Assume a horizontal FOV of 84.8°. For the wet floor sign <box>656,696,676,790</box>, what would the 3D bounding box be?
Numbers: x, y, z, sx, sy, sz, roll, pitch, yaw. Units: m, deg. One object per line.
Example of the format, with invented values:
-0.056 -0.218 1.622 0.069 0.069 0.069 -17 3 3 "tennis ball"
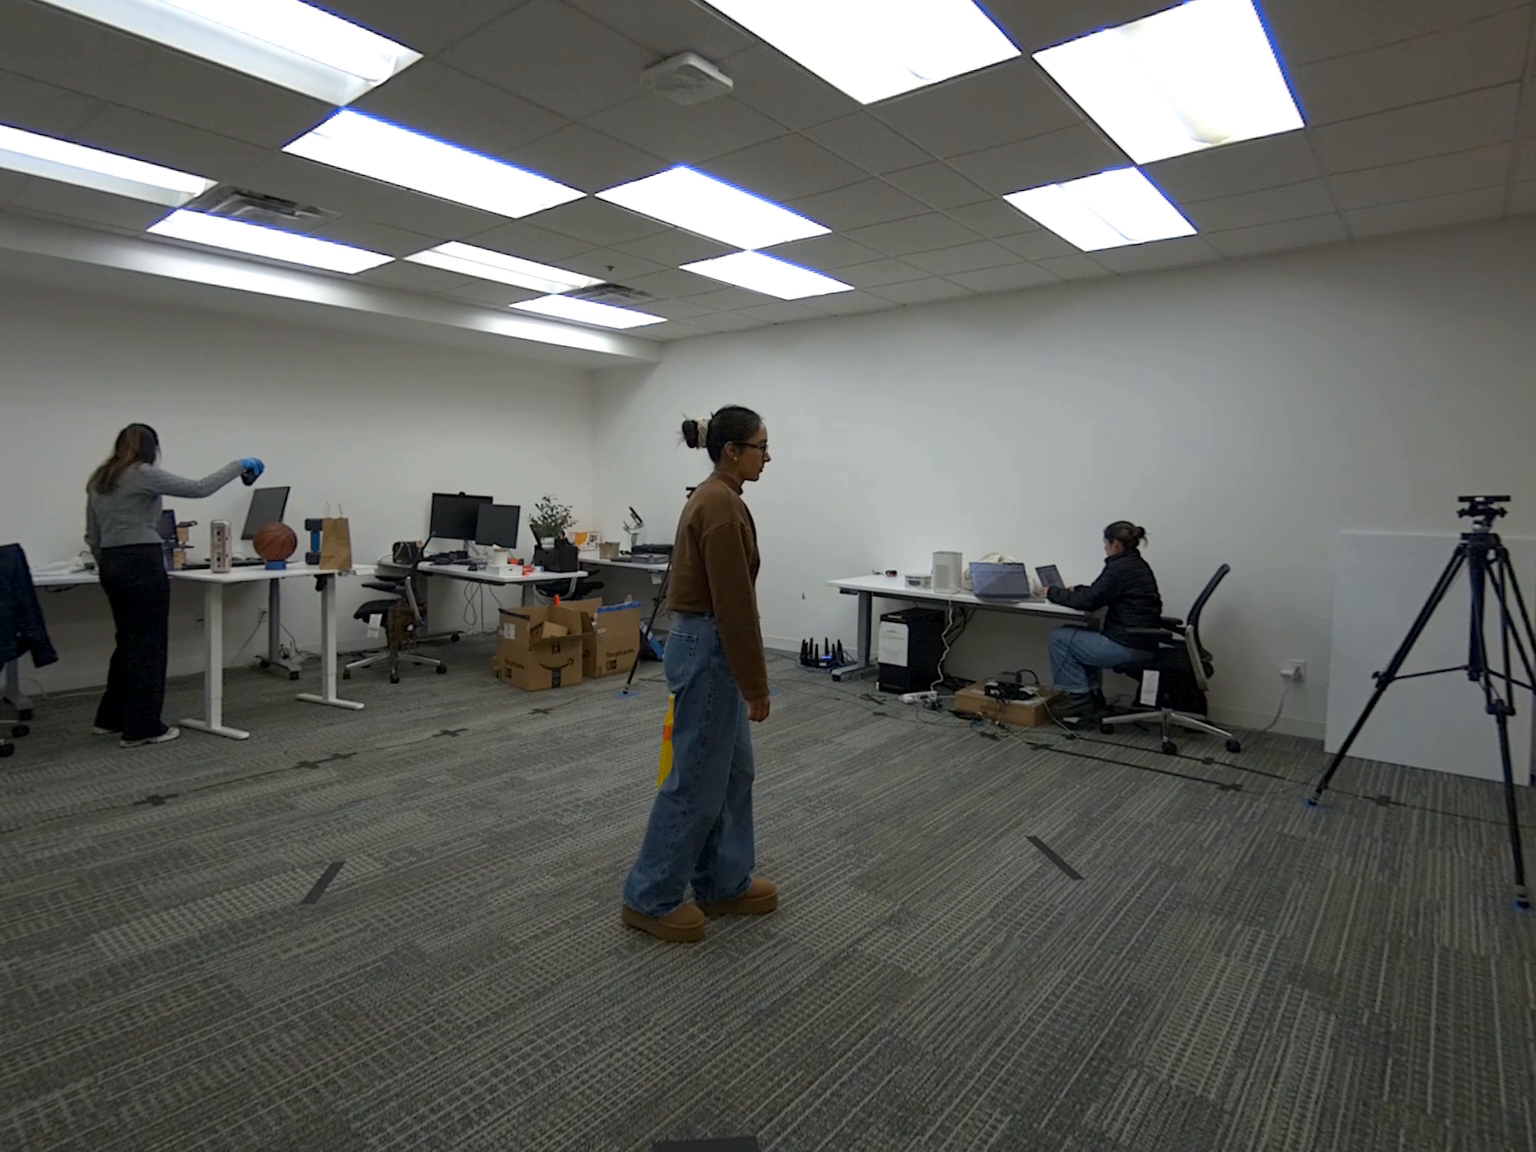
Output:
-0.278 0.736 3.098 0.285 0.644 0.287 0 3 10 "wet floor sign"
